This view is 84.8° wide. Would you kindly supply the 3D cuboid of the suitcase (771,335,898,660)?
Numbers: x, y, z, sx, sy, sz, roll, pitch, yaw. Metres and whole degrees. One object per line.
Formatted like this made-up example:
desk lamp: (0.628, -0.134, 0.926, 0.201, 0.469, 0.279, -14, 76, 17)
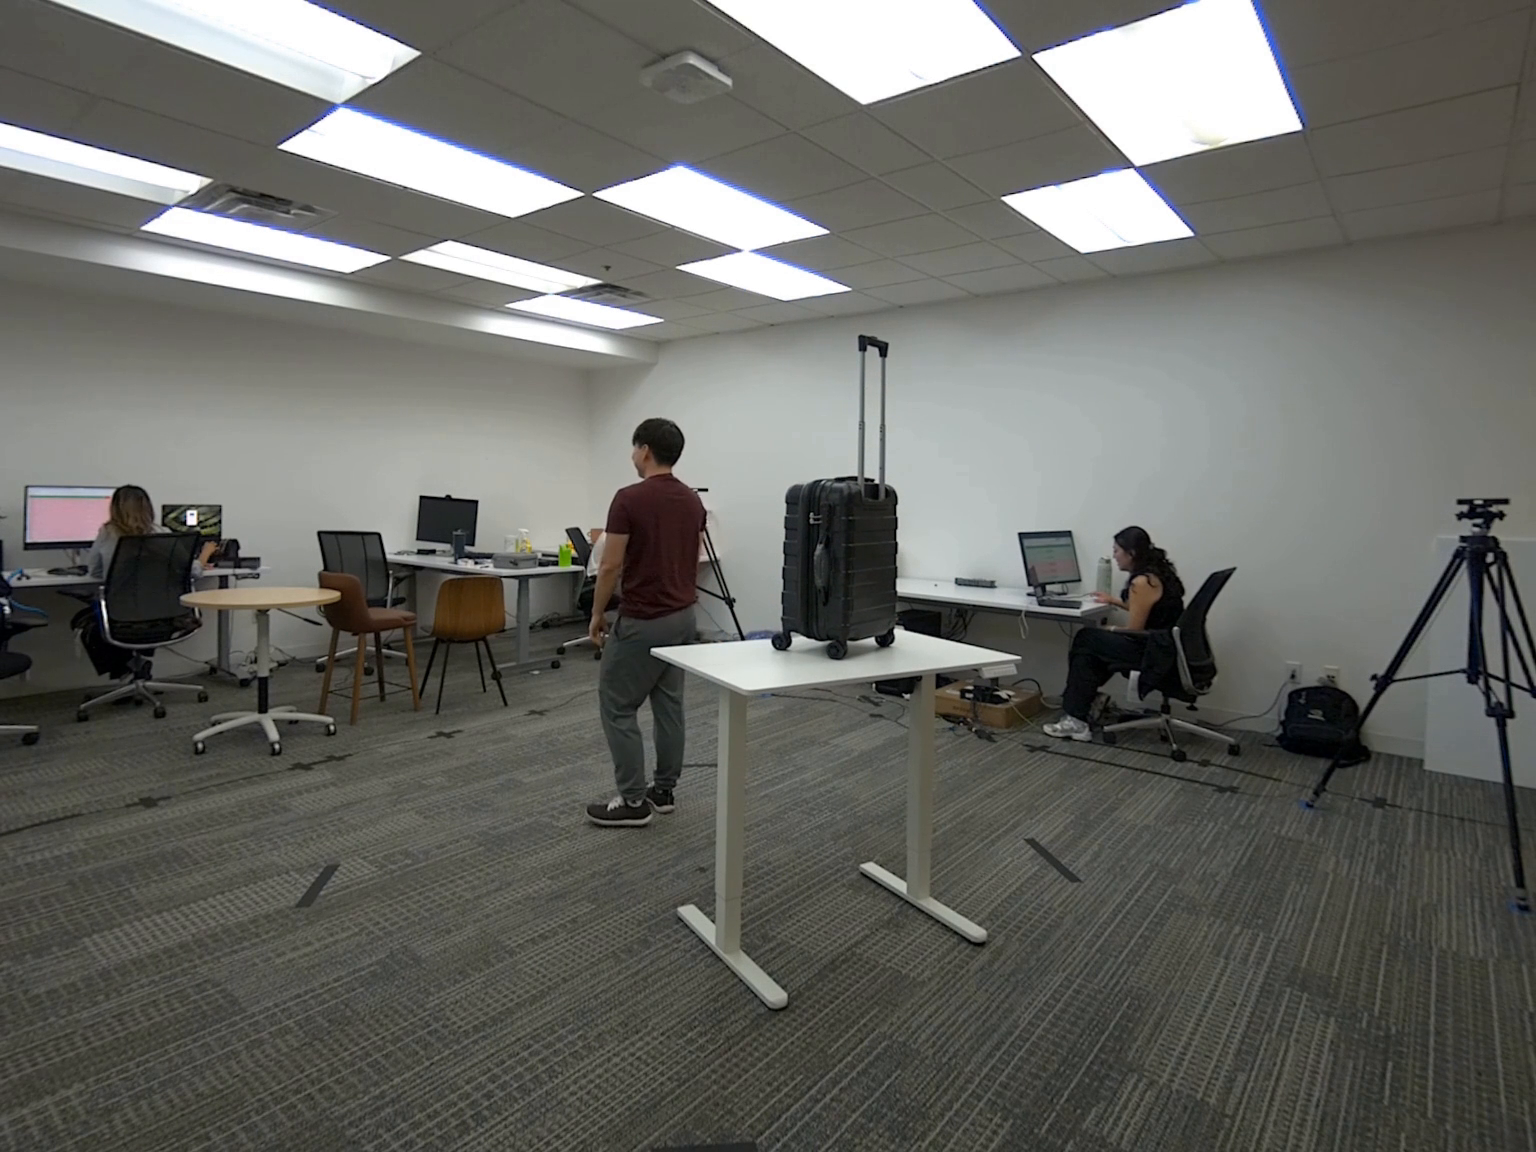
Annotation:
suitcase: (0.225, -0.247, 2.719, 0.265, 0.976, 0.372, 2, 3, 38)
